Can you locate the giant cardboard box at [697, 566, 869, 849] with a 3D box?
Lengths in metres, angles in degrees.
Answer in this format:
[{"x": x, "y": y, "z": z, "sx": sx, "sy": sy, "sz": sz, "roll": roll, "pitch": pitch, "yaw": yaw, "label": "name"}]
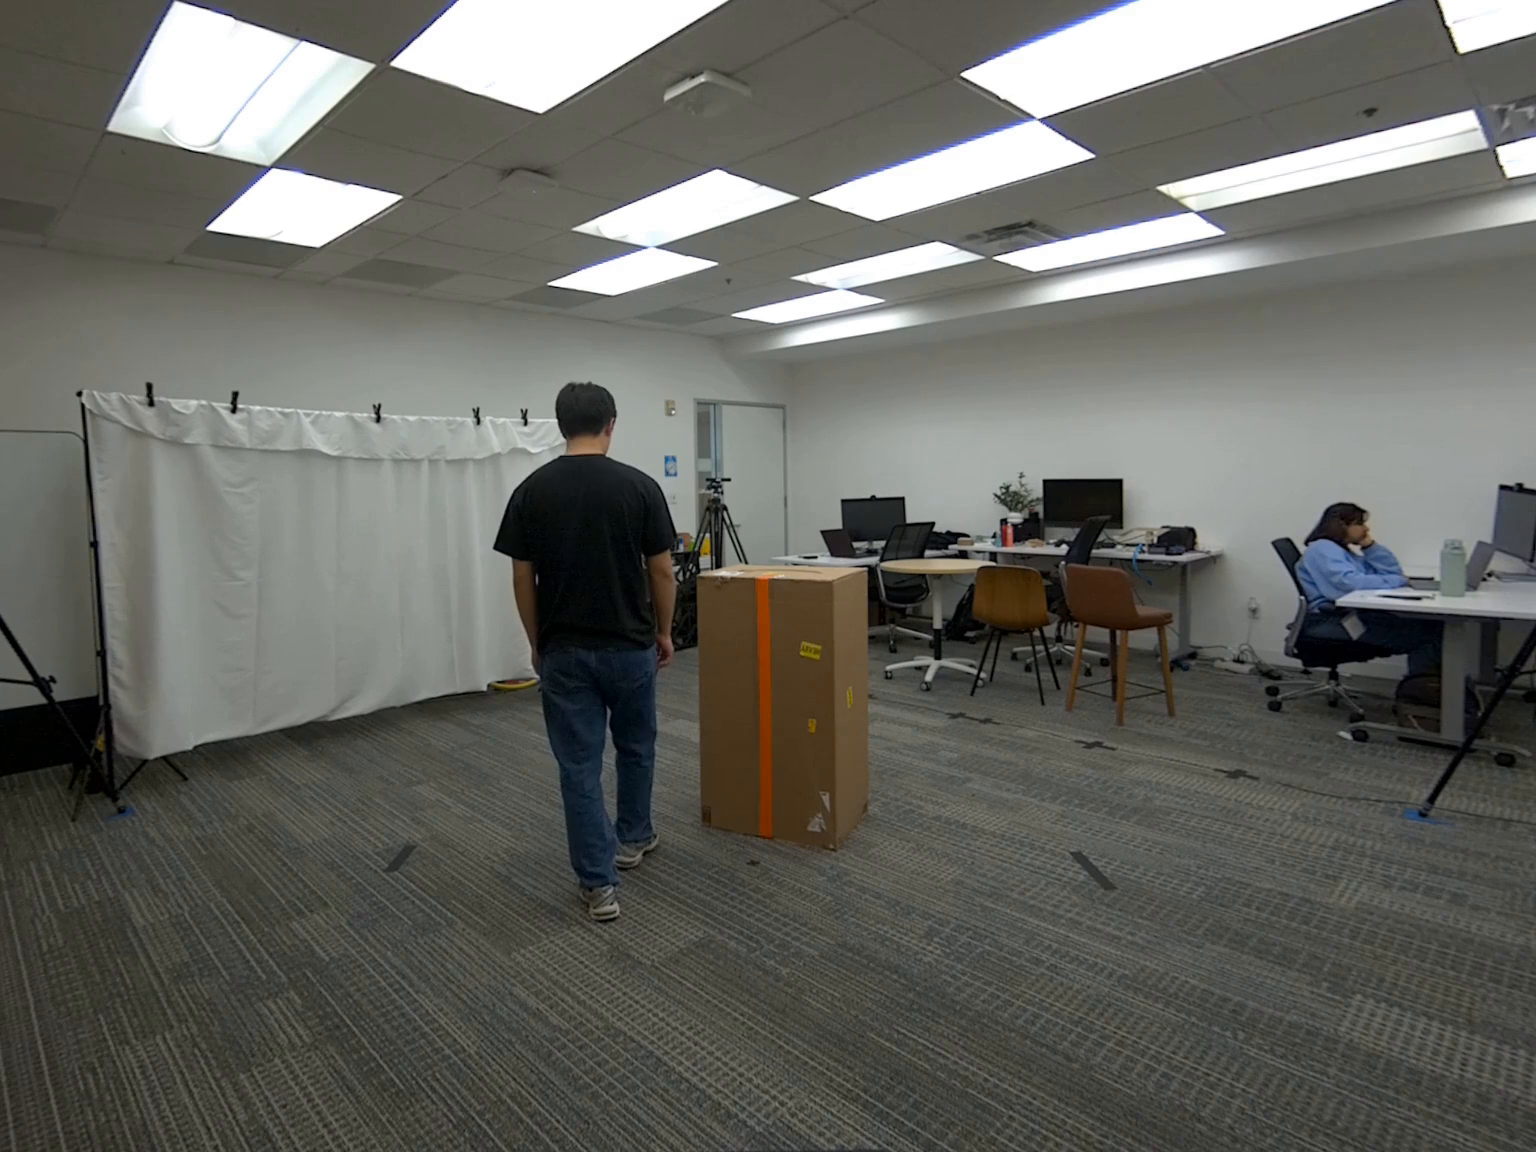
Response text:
[{"x": 0.071, "y": 0.485, "z": 3.472, "sx": 0.598, "sy": 1.022, "sz": 0.438, "roll": 2, "pitch": 6, "yaw": 27, "label": "giant cardboard box"}]
